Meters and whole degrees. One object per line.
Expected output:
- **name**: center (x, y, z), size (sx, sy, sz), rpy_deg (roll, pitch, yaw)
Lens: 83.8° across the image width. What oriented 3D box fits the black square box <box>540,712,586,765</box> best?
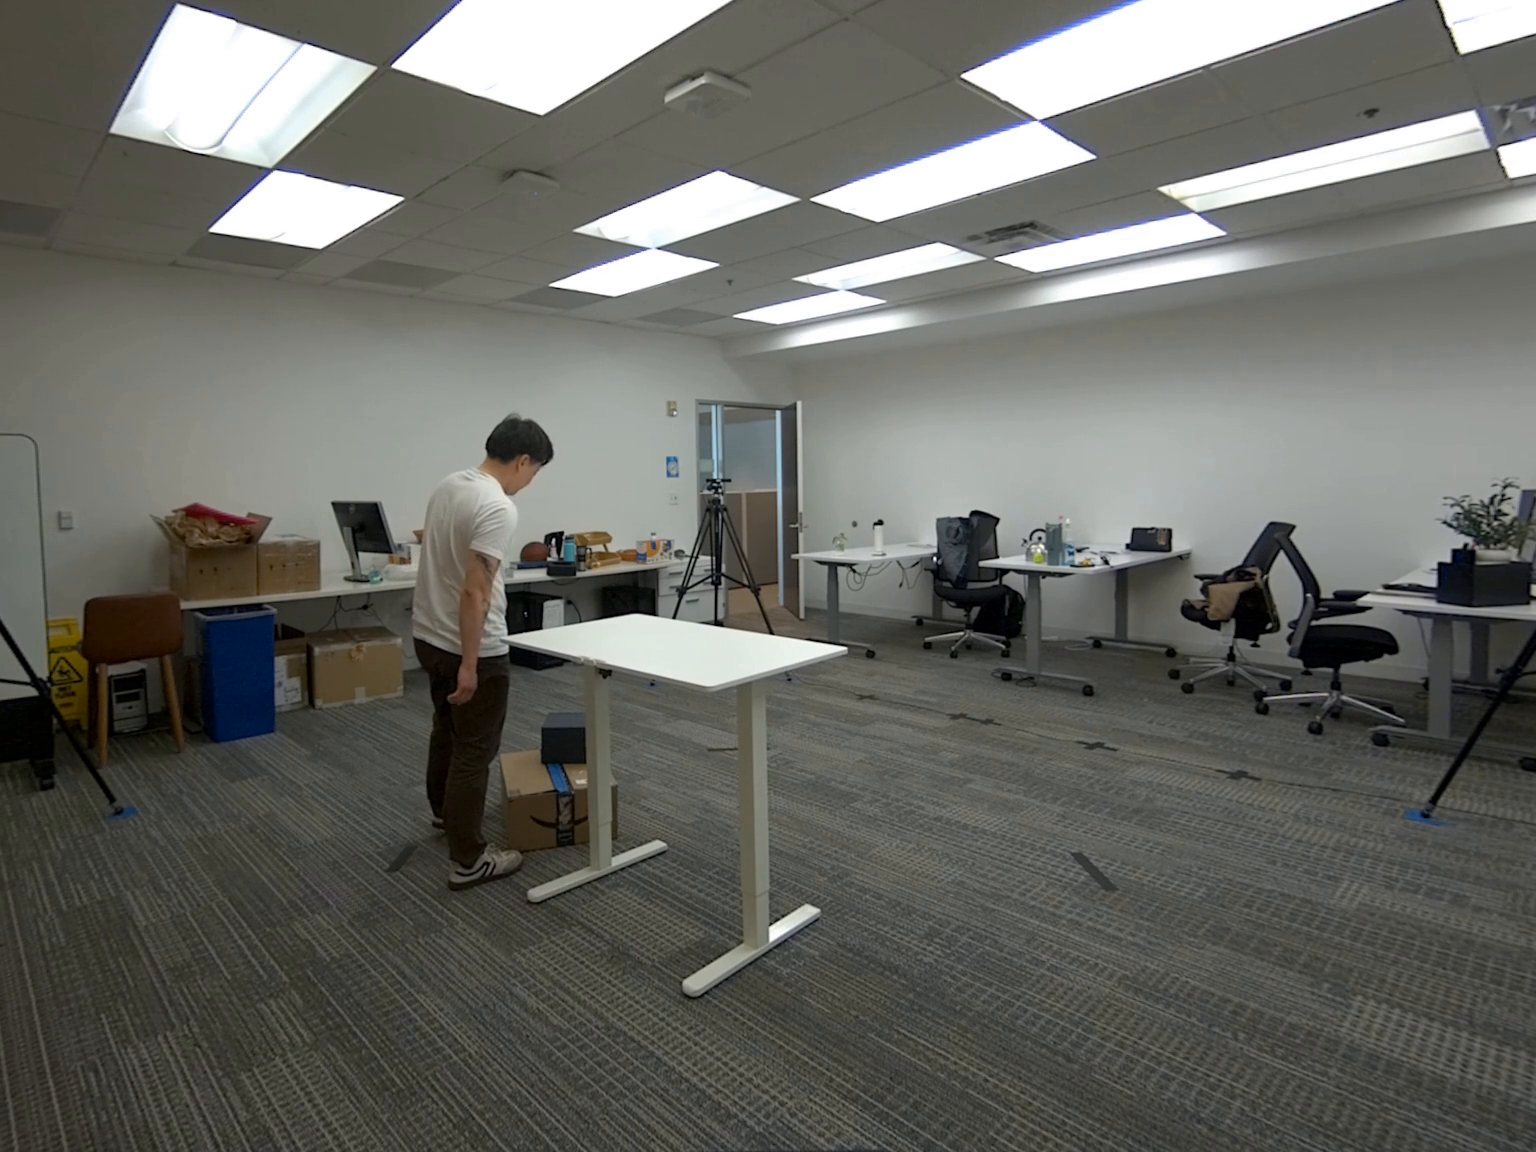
- **black square box**: center (-0.852, 0.694, 3.687), size (0.216, 0.155, 0.230), rpy_deg (0, 6, -5)
